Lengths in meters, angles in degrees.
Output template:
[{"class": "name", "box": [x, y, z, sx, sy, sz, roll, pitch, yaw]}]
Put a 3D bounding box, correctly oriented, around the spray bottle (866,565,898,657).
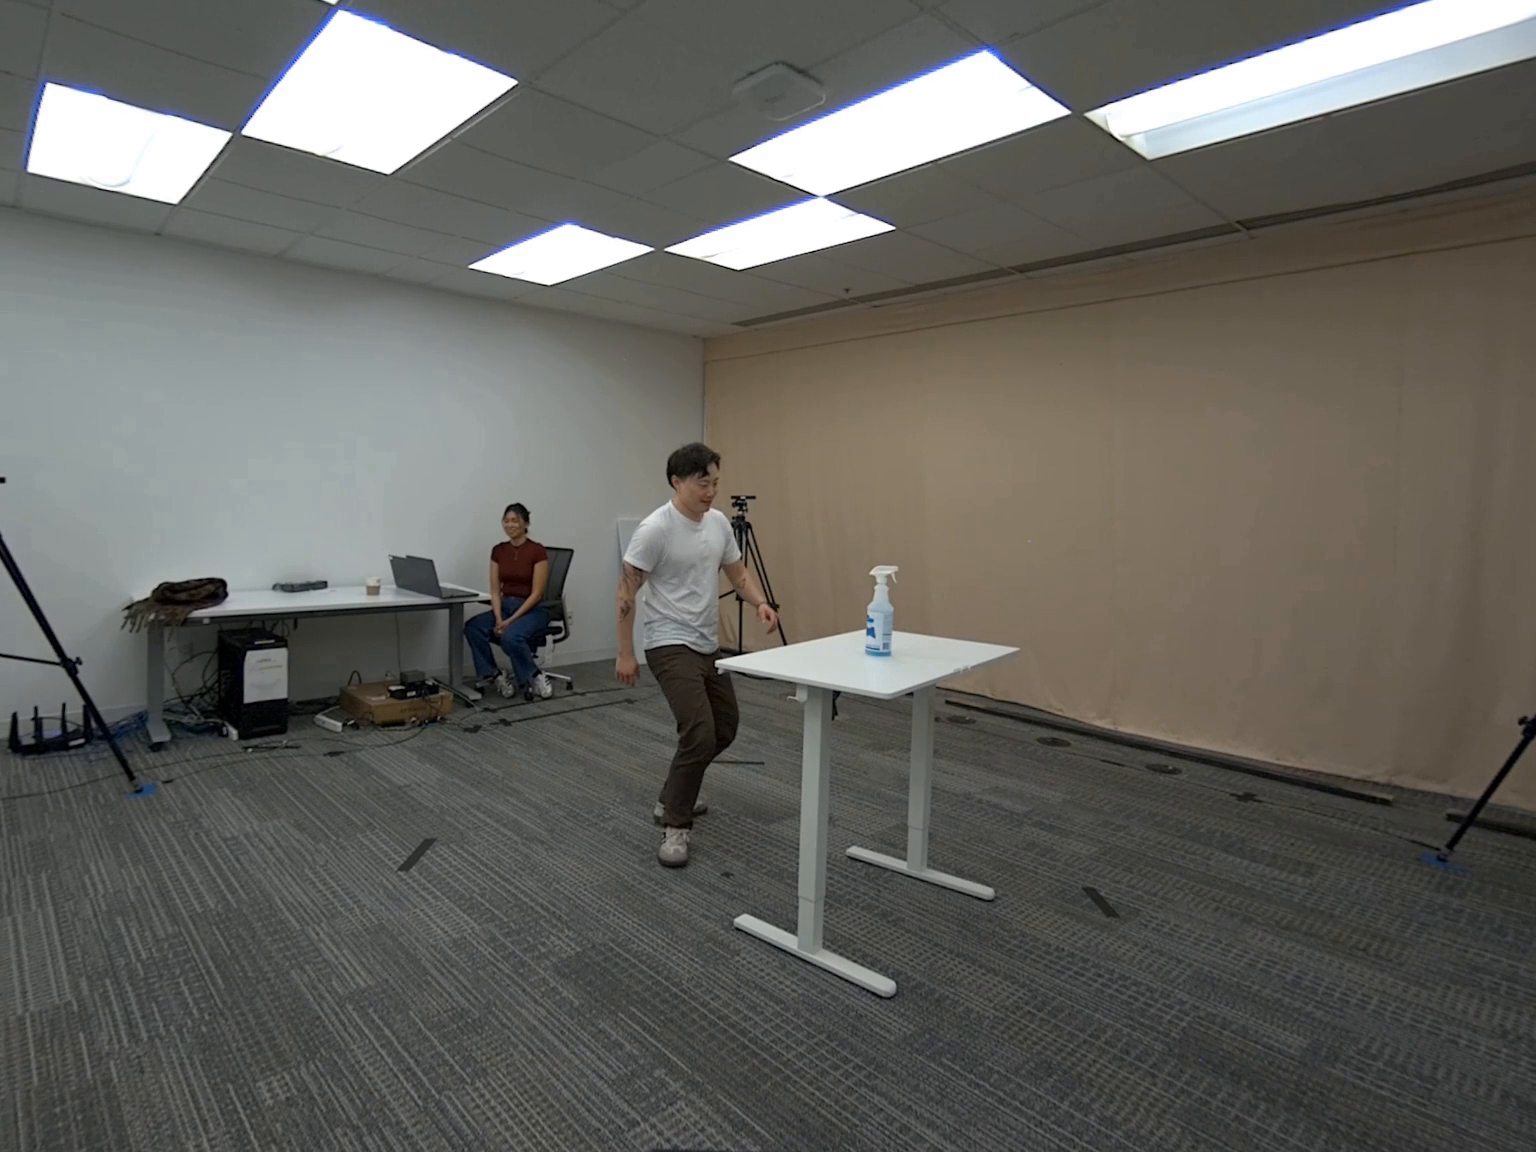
[{"class": "spray bottle", "box": [0.369, 0.117, 2.792, 0.092, 0.297, 0.085, 4, 3, 33]}]
